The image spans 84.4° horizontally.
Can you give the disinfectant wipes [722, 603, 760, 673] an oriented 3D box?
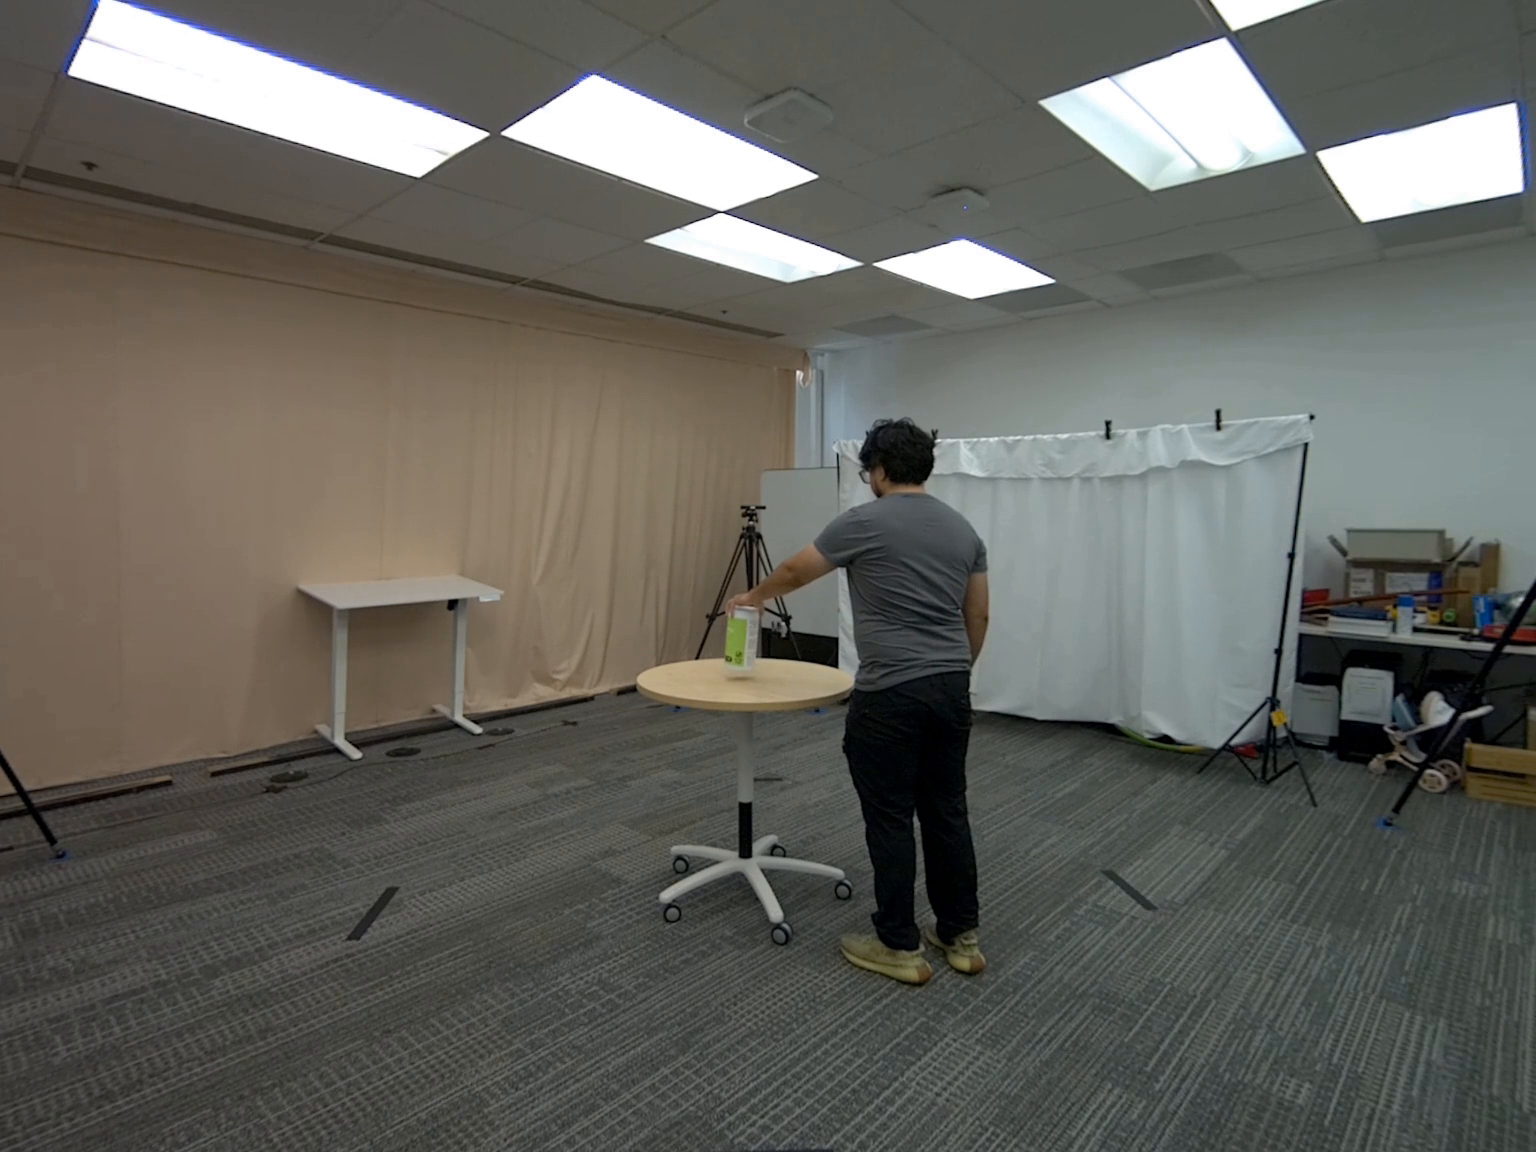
[{"bbox_3d":[-0.097,0.213,2.941,0.117,0.217,0.118,1,6,-2],"label":"disinfectant wipes"}]
